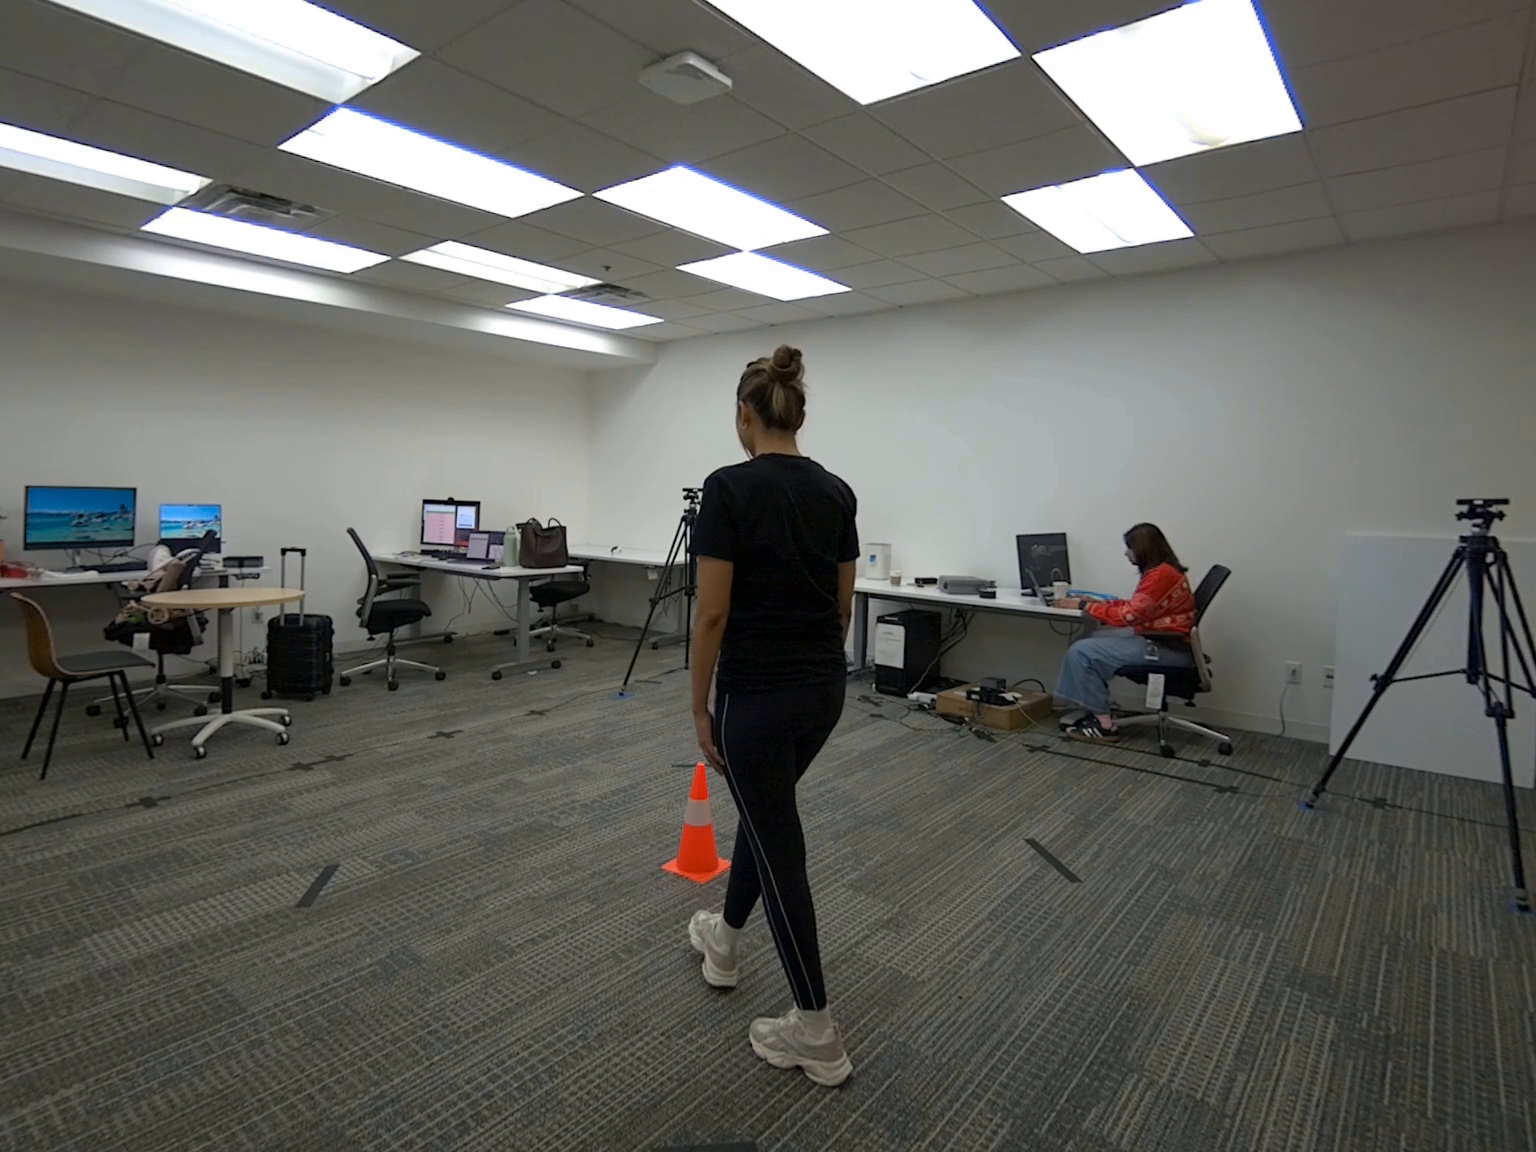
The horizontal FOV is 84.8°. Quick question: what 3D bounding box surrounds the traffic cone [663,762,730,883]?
[{"bbox_3d":[-0.261,0.884,3.130,0.209,0.383,0.199,4,3,31],"label":"traffic cone"}]
